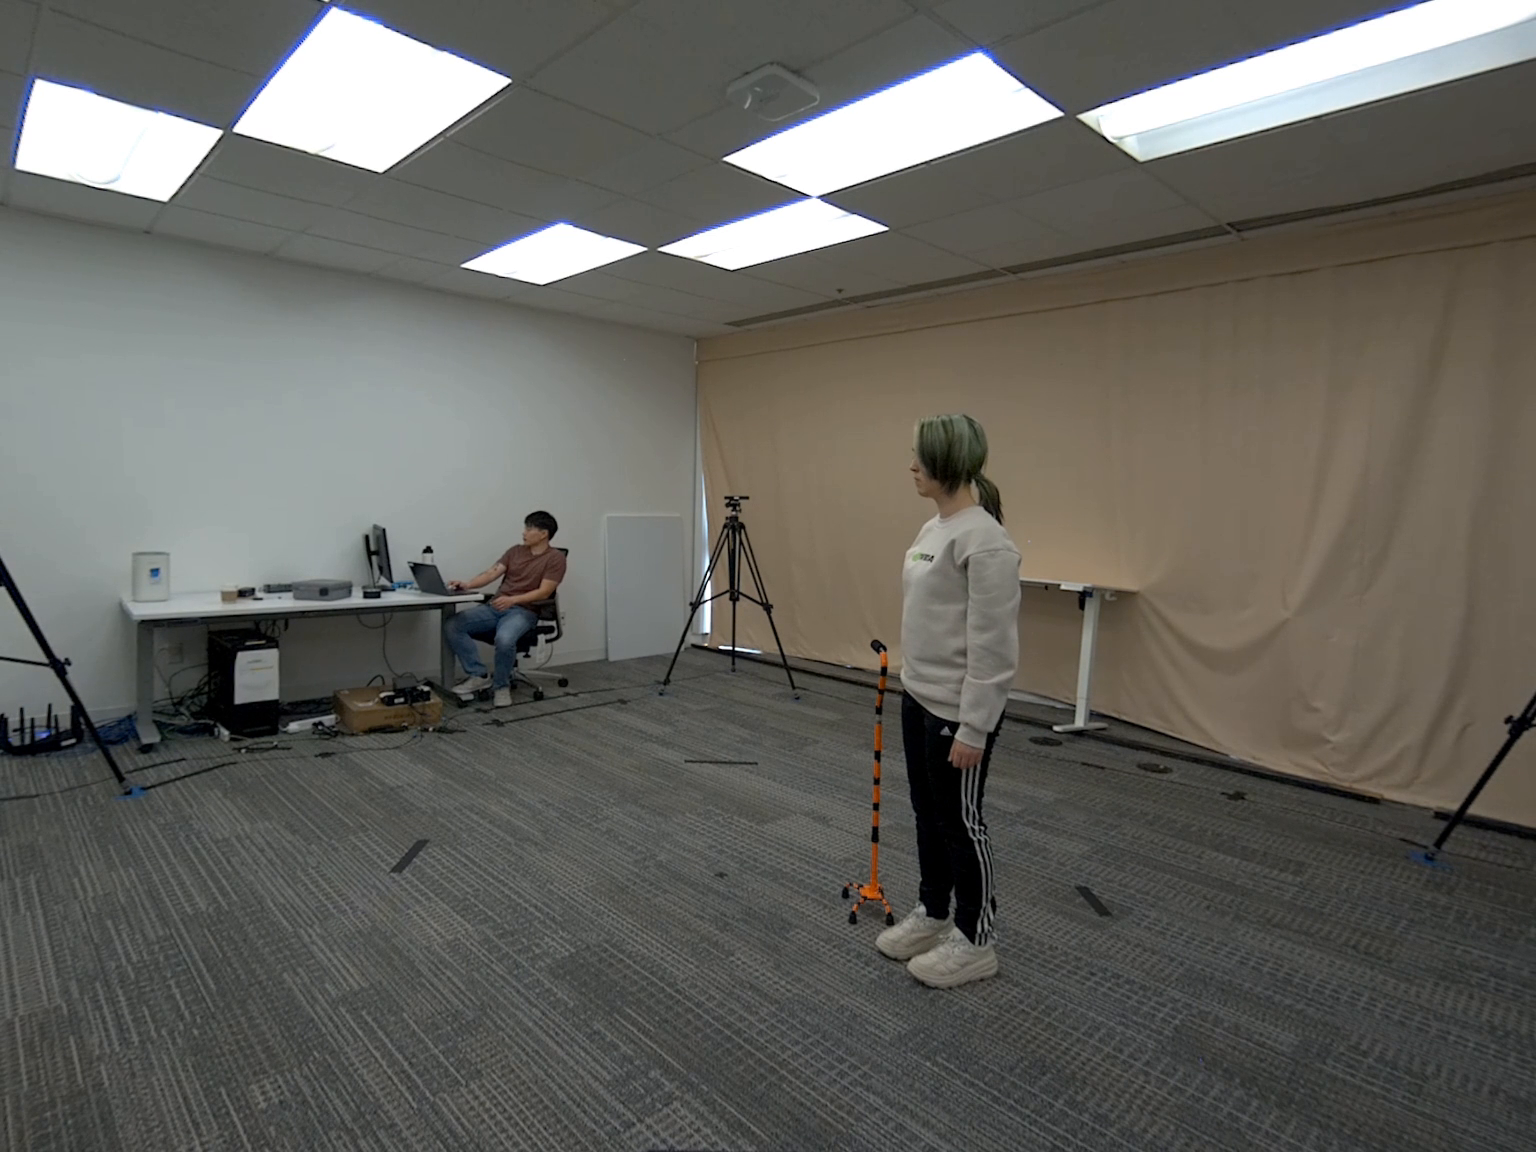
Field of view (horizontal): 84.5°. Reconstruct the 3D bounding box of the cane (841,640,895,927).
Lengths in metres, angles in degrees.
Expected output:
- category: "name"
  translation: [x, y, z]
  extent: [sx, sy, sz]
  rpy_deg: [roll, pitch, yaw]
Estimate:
- category: "cane"
  translation: [0.345, 0.688, 2.839]
  extent: [0.151, 0.905, 0.207]
  rpy_deg: [2, 3, -2]
